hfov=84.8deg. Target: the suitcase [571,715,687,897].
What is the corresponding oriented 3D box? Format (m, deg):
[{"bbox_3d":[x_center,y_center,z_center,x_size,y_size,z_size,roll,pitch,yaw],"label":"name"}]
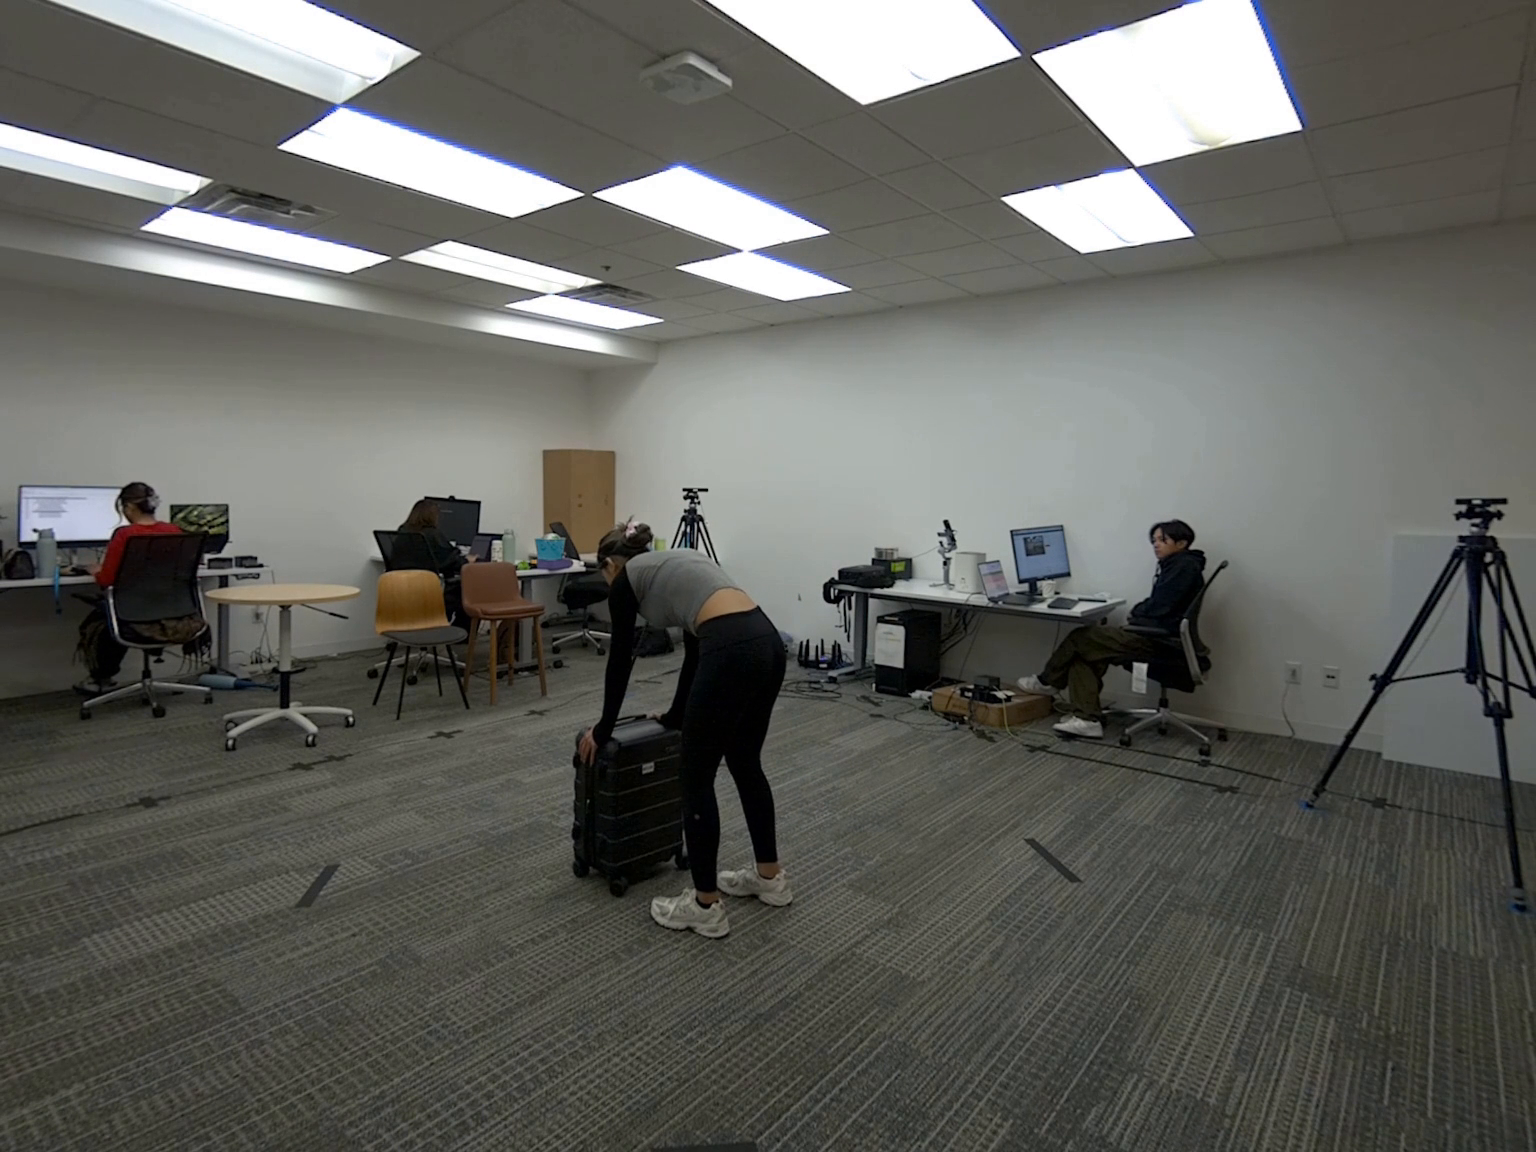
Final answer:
[{"bbox_3d":[-0.511,0.793,3.078,0.256,0.548,0.364,2,3,44],"label":"suitcase"}]
